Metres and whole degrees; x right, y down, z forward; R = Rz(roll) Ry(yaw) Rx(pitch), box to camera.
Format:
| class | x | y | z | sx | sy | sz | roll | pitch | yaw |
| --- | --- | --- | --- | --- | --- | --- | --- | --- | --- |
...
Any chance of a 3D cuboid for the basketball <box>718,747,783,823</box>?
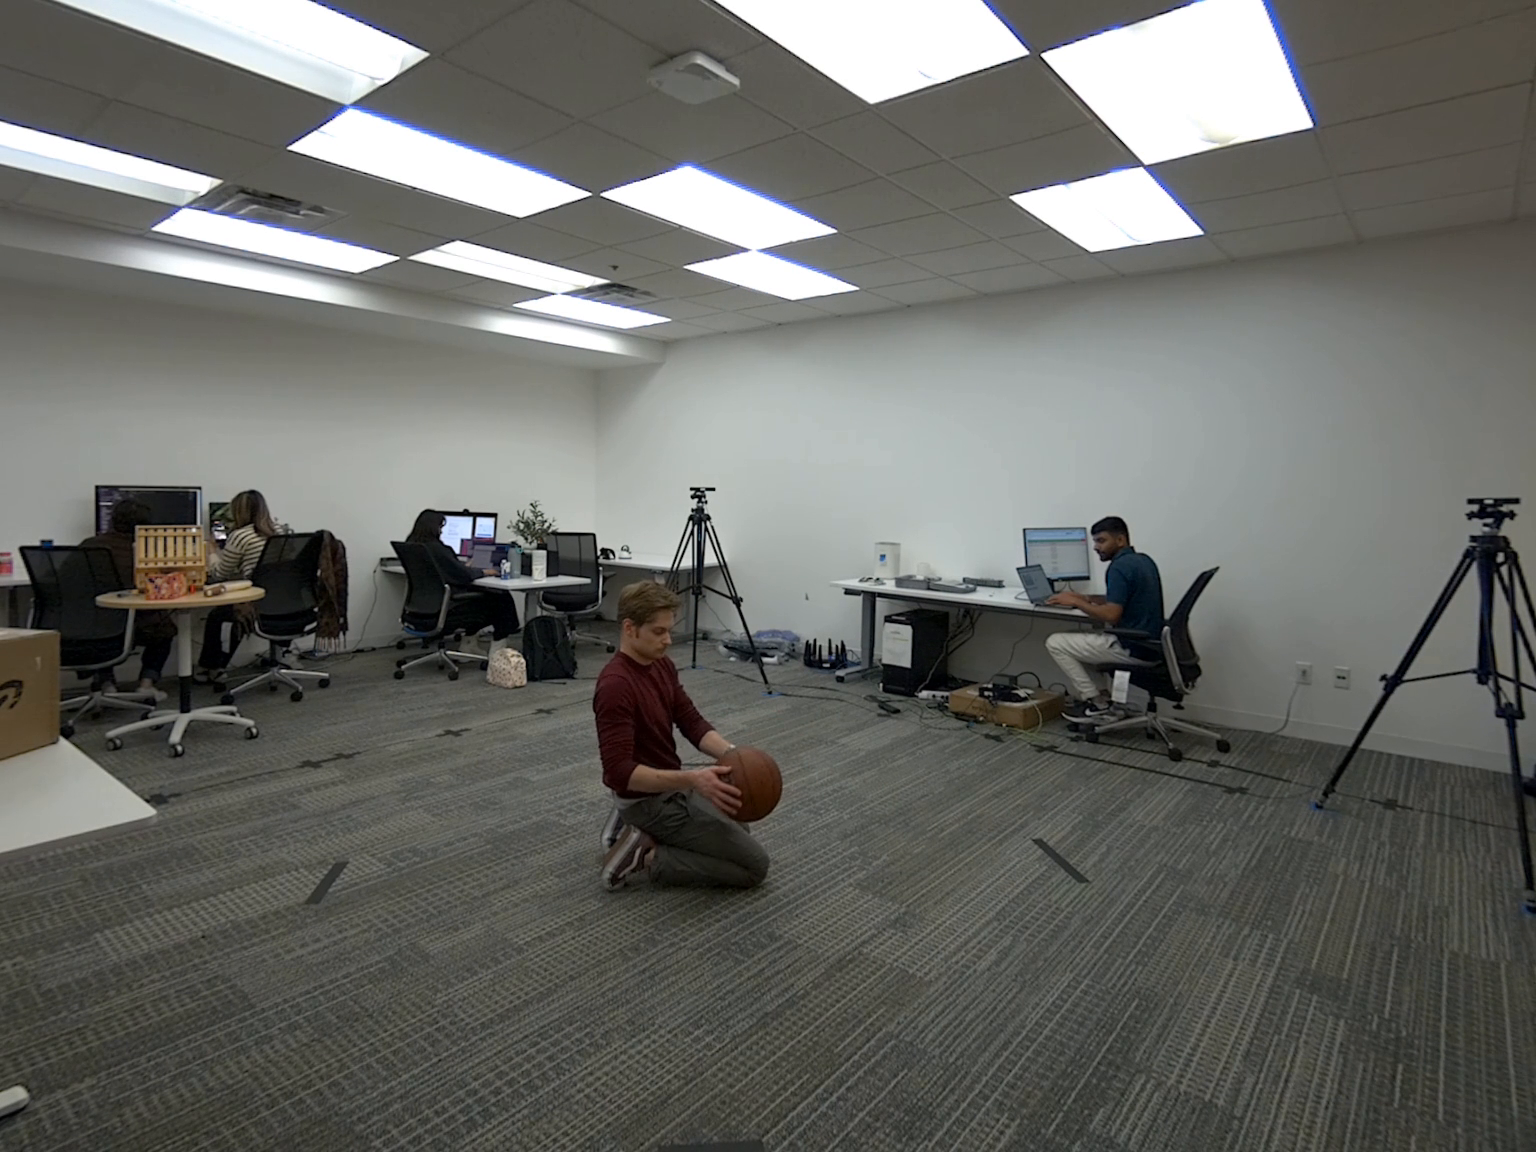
| class | x | y | z | sx | sy | sz | roll | pitch | yaw |
| --- | --- | --- | --- | --- | --- | --- | --- | --- | --- |
| basketball | -0.082 | 0.686 | 2.779 | 0.235 | 0.235 | 0.237 | 1 | 4 | -2 |
